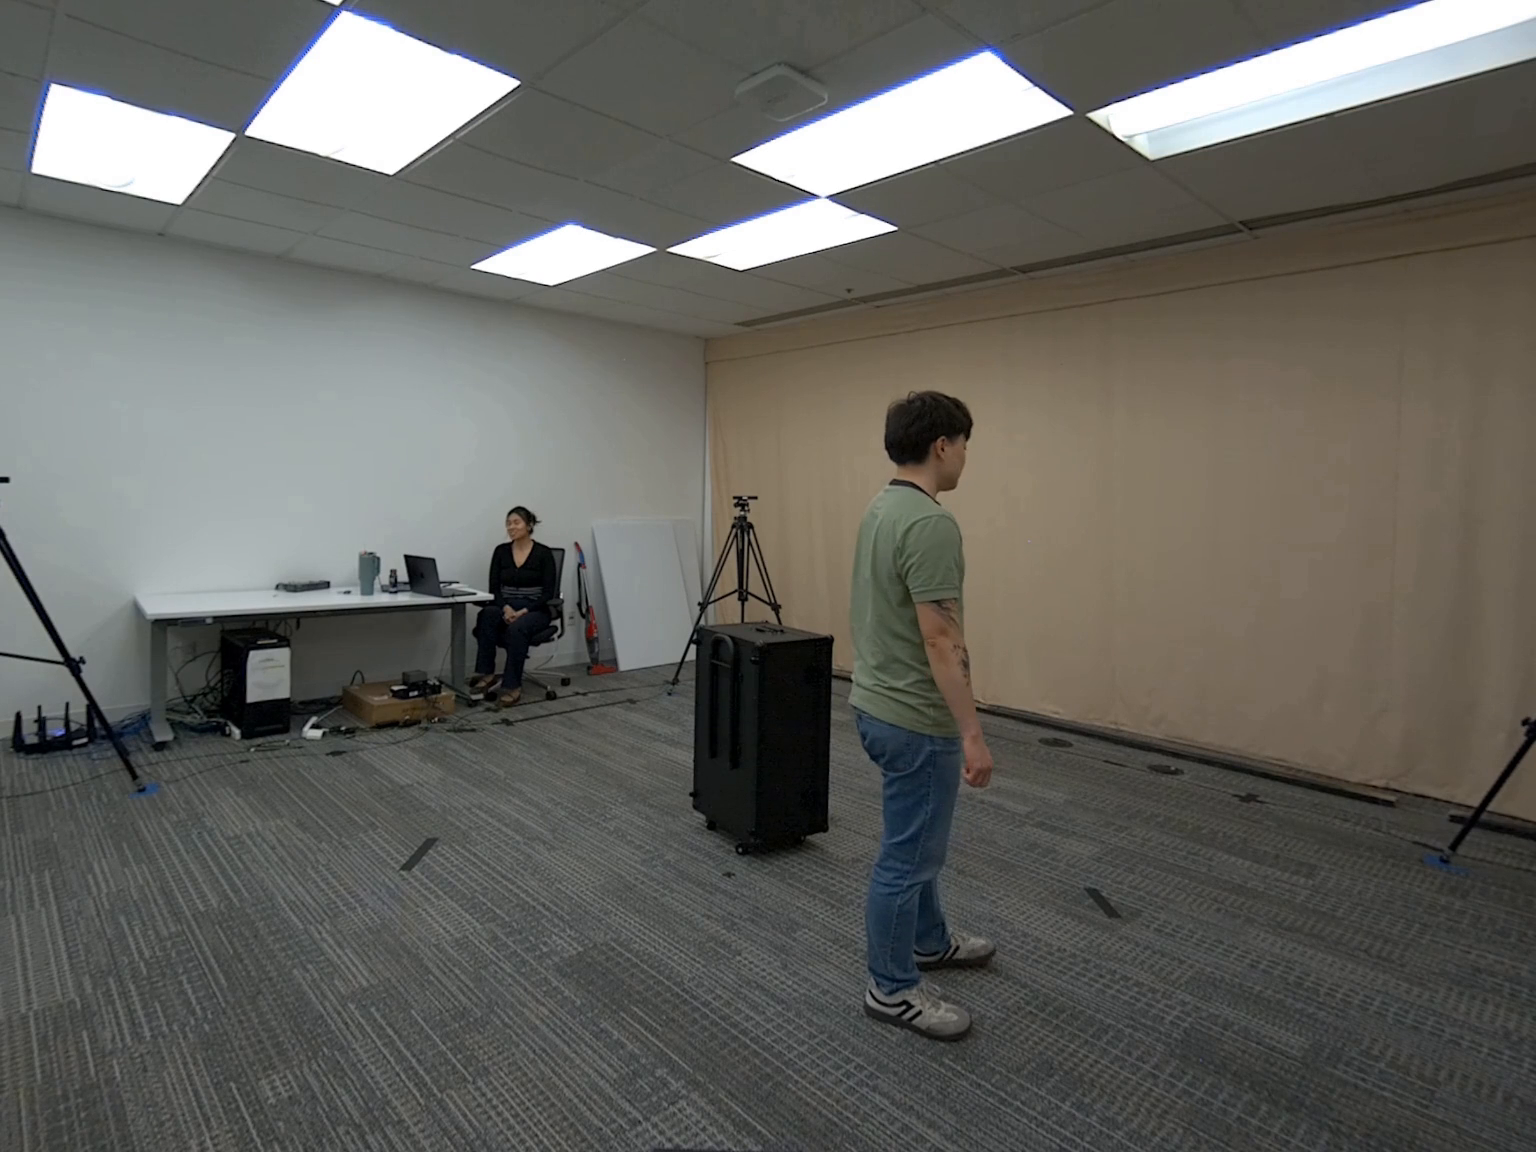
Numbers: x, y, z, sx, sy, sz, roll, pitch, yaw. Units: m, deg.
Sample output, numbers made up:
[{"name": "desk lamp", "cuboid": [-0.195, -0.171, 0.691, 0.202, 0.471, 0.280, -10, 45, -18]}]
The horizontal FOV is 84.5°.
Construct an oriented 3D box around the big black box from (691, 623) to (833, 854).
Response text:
[{"name": "big black box", "cuboid": [-0.045, 0.650, 3.440, 0.388, 0.859, 0.533, -1, 4, -33]}]
